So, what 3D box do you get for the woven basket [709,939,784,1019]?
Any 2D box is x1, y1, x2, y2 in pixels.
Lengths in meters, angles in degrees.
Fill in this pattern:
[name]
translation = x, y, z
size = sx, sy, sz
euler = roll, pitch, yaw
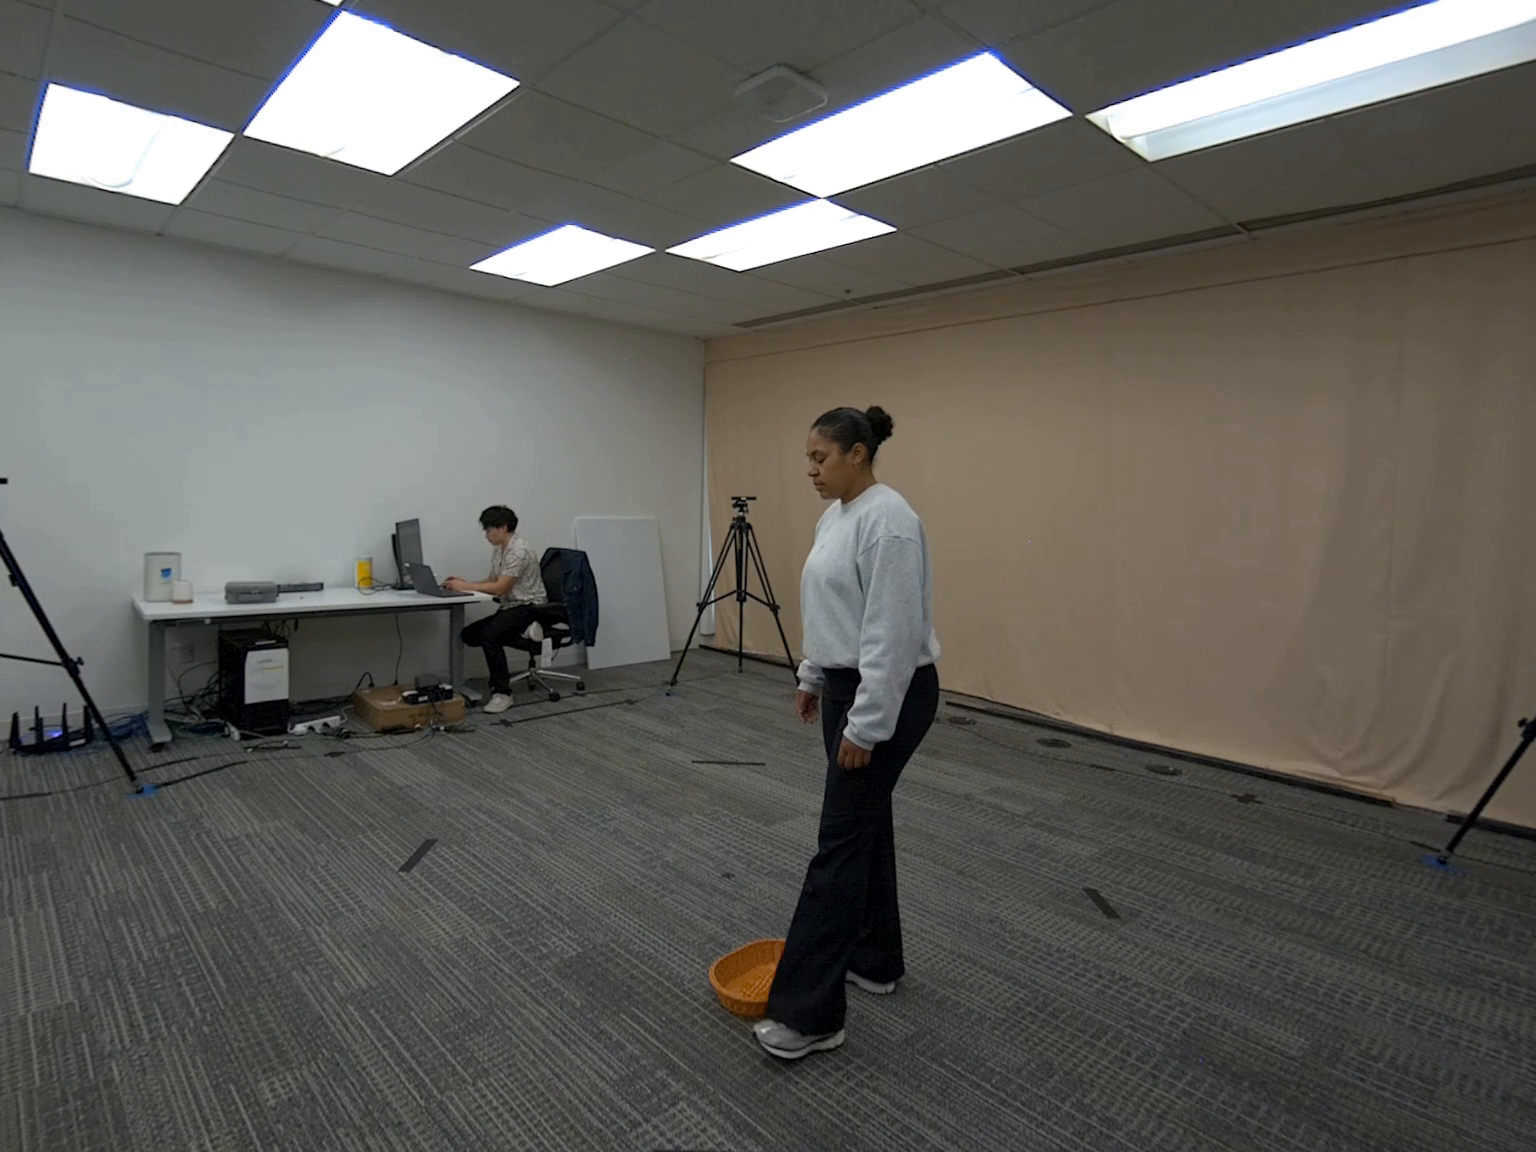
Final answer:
[woven basket]
translation = -0.012, 1.132, 2.385
size = 0.342, 0.073, 0.259
euler = -2, 6, -41
